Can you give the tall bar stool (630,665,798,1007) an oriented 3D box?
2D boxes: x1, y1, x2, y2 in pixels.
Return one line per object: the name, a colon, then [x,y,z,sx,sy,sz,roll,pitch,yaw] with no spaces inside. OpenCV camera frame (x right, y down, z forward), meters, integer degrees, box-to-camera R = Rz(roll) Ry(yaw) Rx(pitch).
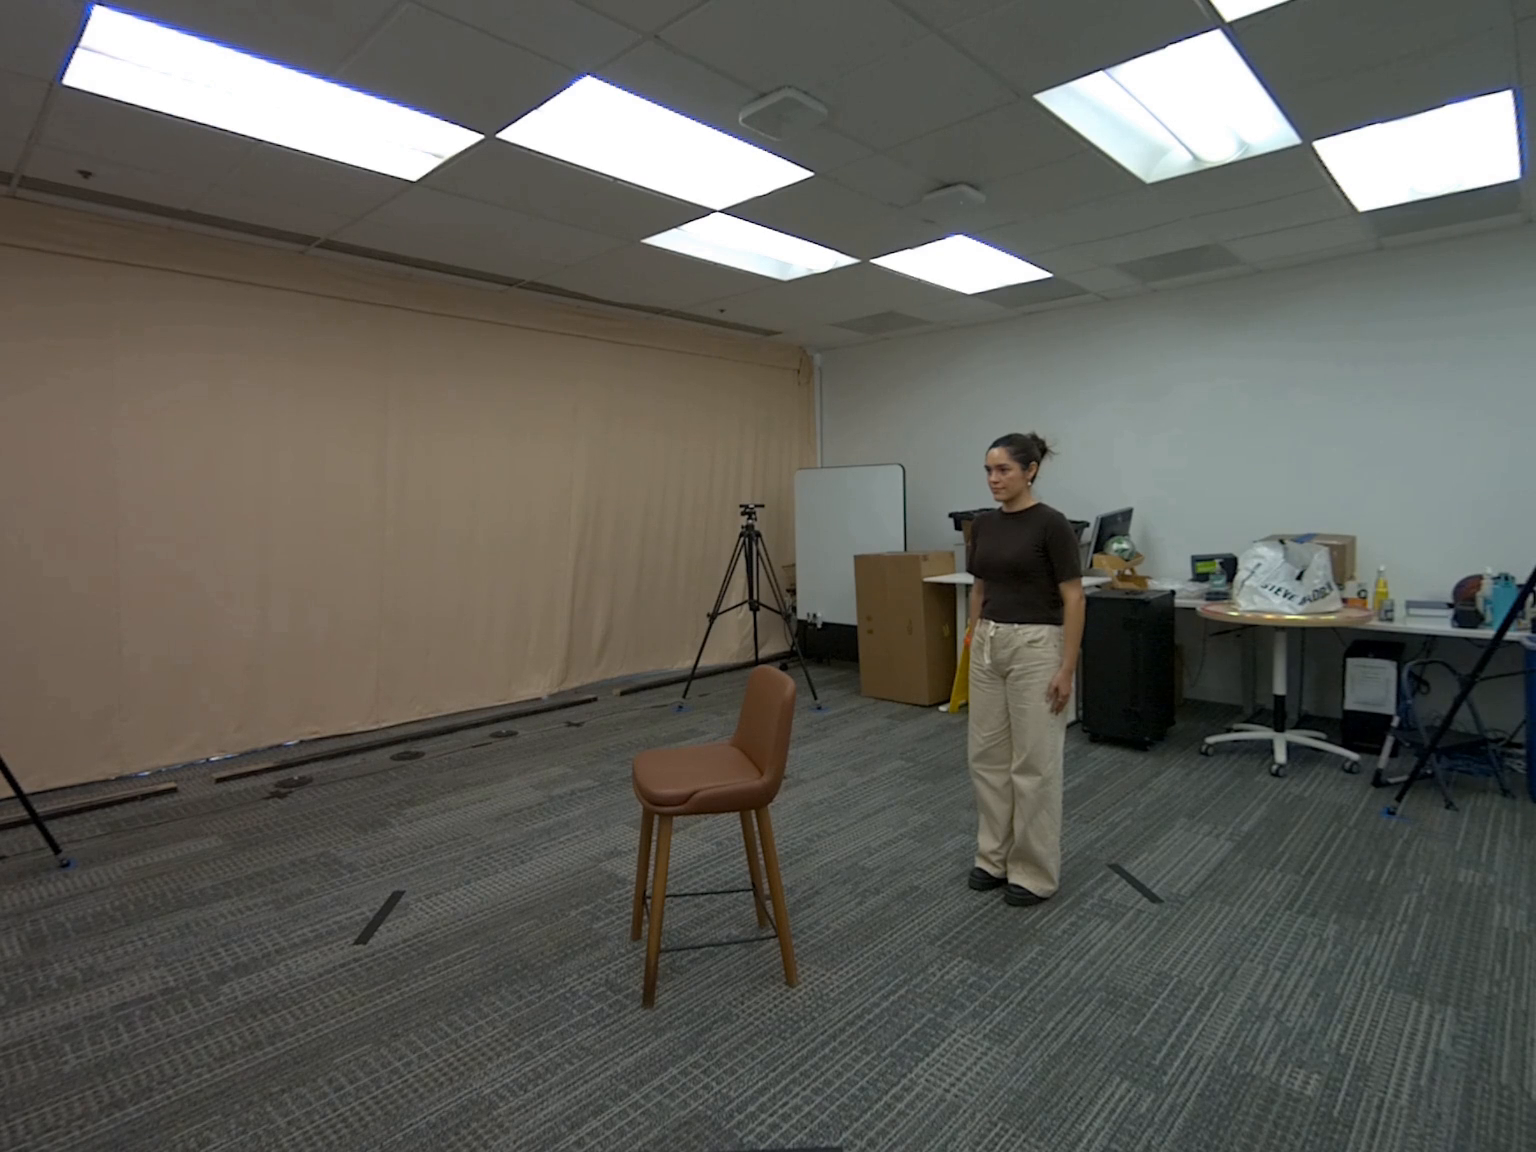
tall bar stool: [-0.173,0.745,2.553,0.462,0.888,0.463,0,4,-12]
